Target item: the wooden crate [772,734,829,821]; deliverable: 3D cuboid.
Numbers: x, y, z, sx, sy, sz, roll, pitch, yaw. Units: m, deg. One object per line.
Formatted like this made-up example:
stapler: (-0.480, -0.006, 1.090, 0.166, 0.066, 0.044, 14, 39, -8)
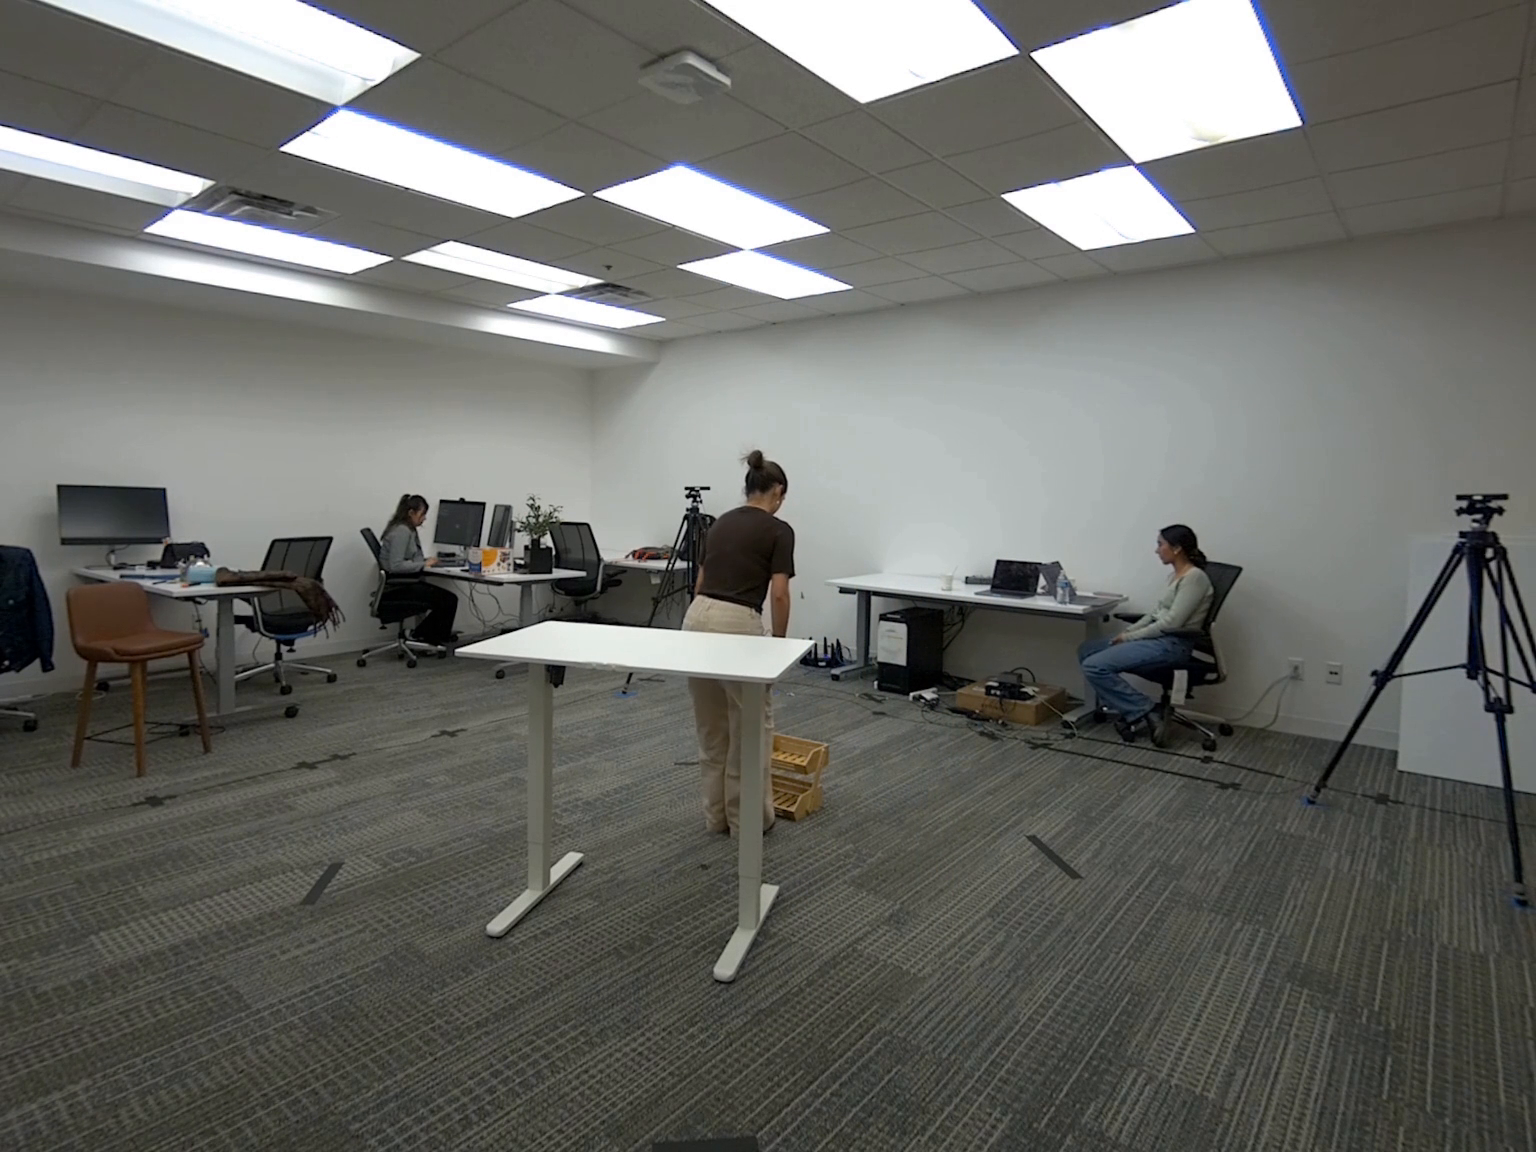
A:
wooden crate: (0.056, 0.870, 3.753, 0.335, 0.272, 0.293, 4, 4, 33)
